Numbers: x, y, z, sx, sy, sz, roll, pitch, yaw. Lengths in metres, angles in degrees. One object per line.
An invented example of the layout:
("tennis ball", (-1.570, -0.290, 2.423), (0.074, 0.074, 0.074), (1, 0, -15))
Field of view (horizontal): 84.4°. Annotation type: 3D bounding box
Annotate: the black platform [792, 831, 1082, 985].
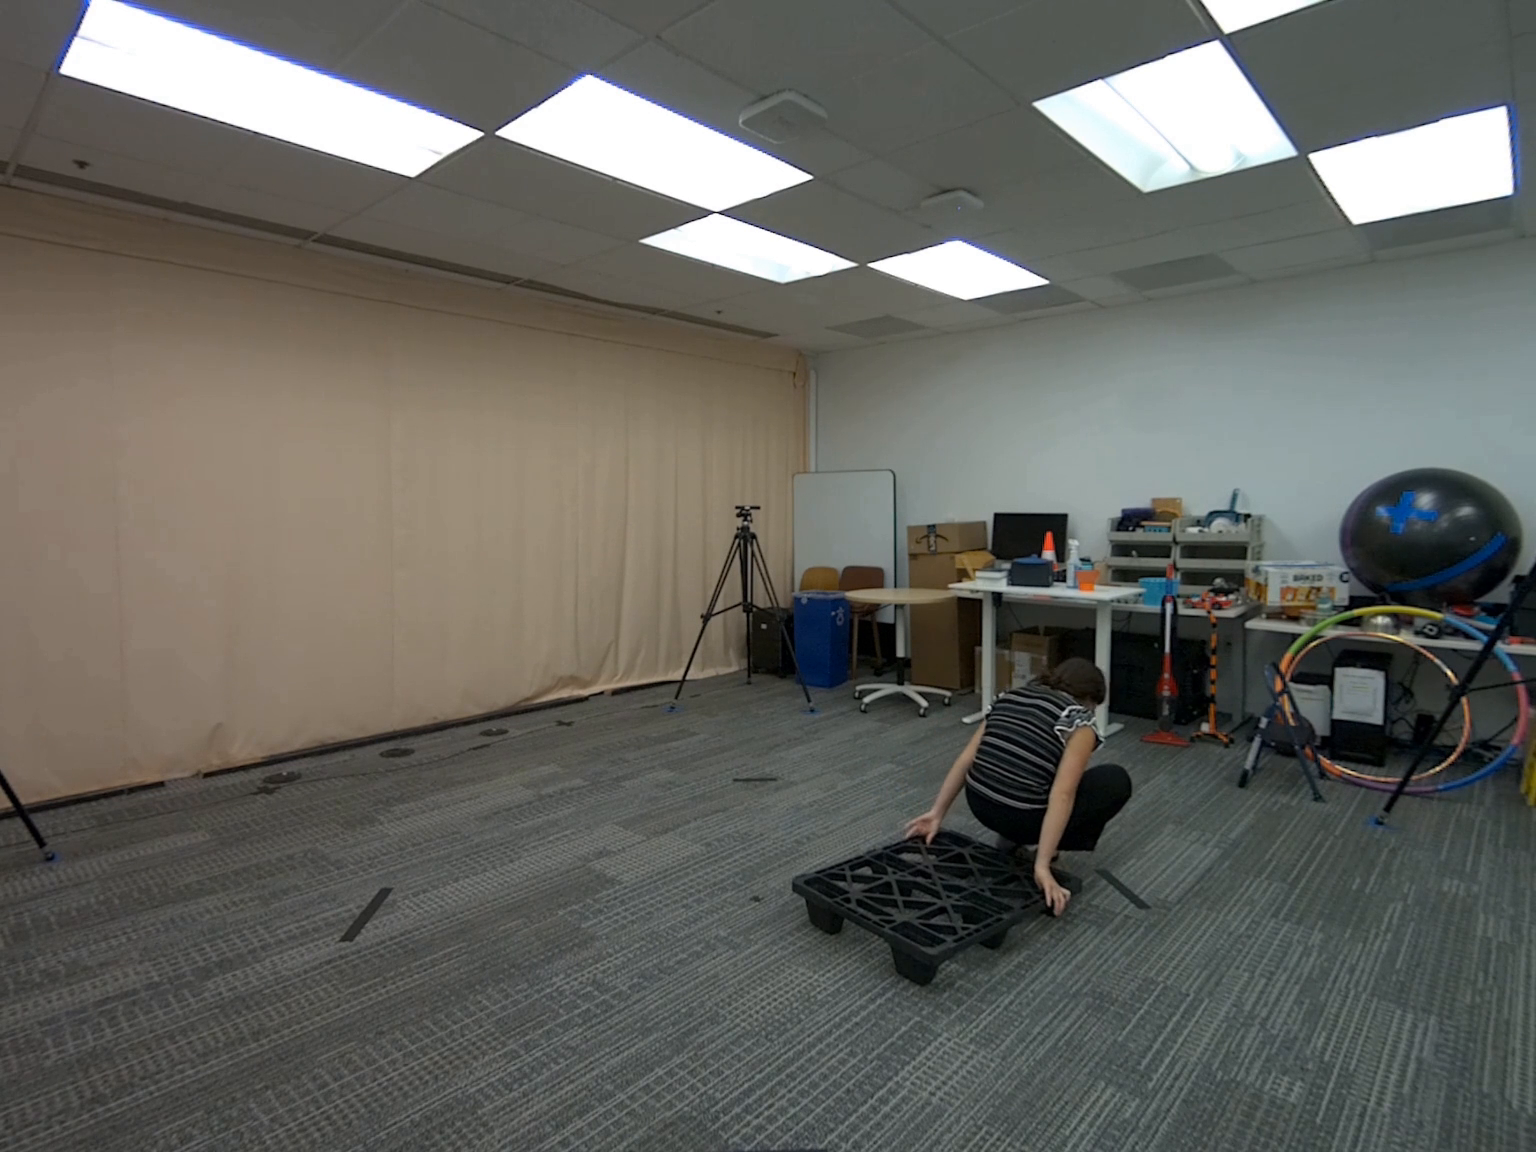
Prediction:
("black platform", (0.577, 1.085, 2.829), (0.781, 0.143, 0.625), (-4, 7, -39))
